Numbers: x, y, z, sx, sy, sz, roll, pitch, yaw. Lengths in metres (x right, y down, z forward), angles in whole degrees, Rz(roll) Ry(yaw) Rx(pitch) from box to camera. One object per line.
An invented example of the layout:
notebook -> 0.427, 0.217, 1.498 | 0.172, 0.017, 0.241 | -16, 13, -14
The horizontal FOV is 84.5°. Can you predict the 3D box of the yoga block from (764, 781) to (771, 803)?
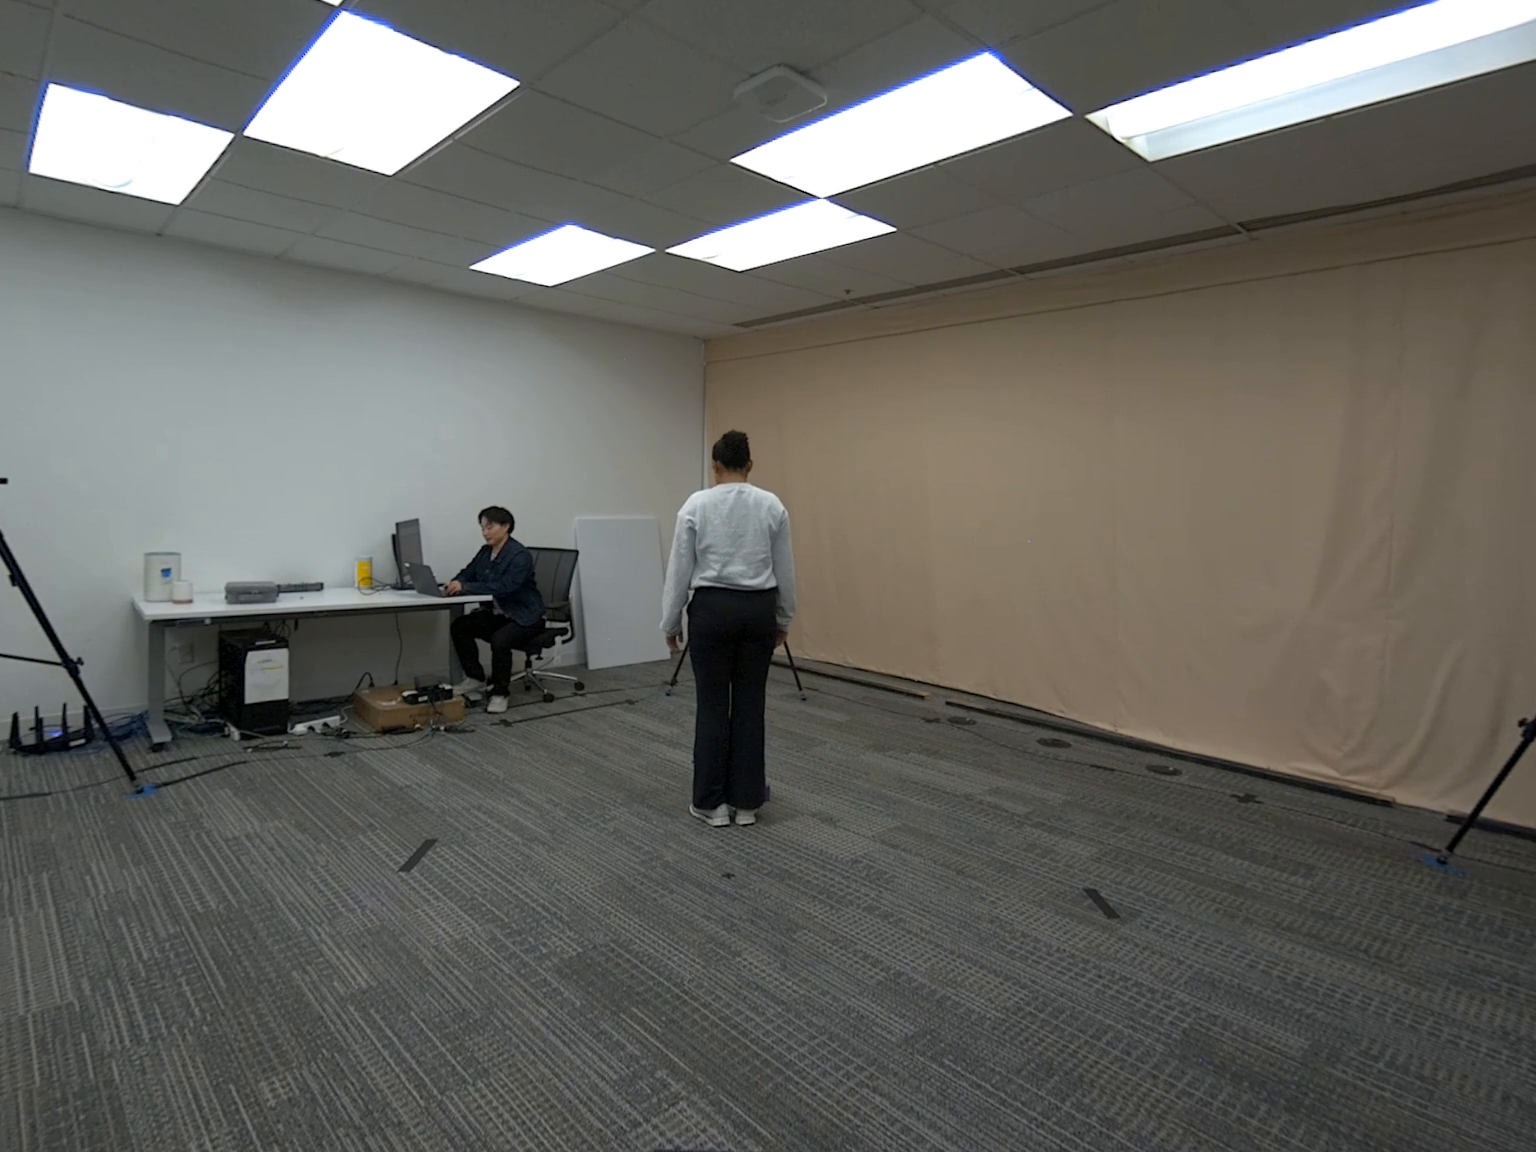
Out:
yoga block -> -0.123, 0.998, 3.947 | 0.228, 0.076, 0.150 | 0, 6, -8
